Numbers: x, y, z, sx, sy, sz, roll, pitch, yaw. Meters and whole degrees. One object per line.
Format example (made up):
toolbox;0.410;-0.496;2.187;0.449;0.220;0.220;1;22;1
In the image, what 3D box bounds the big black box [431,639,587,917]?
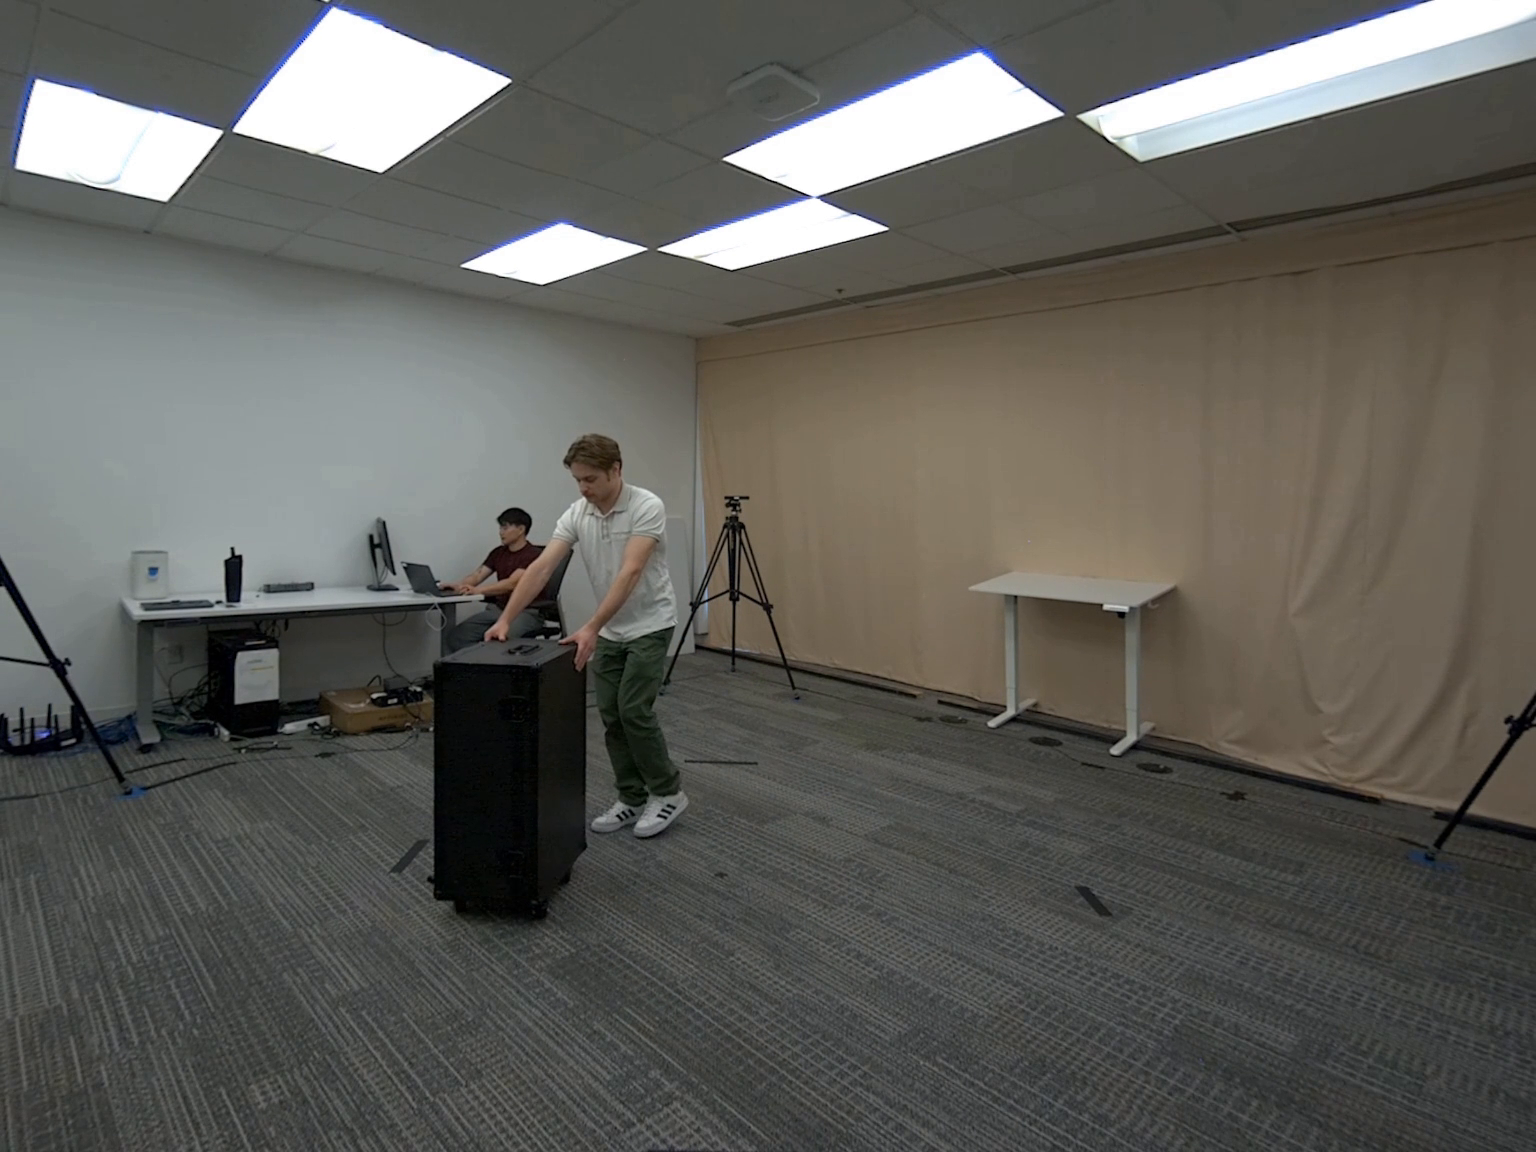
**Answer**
big black box;-0.888;0.690;2.899;0.388;0.866;0.521;1;4;7
